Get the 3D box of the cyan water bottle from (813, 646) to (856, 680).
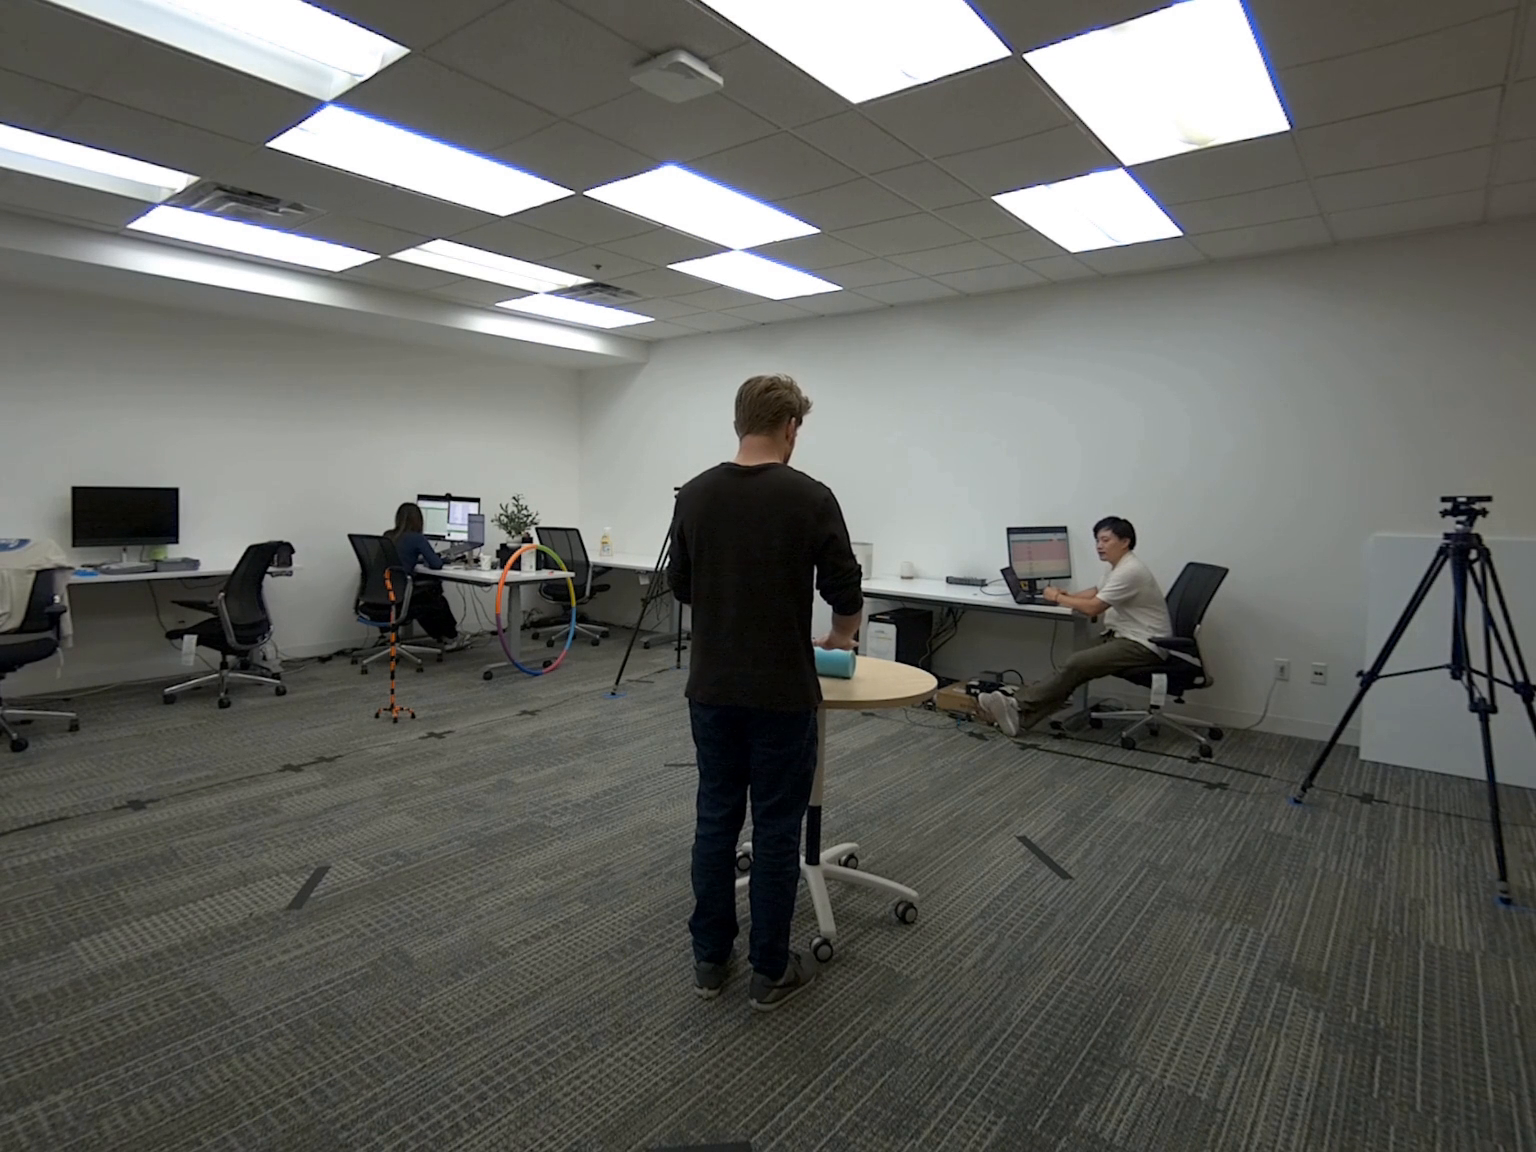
[{"bbox_3d":[0.134,0.271,2.813,0.290,0.092,0.090,4,5,22],"label":"cyan water bottle"}]
